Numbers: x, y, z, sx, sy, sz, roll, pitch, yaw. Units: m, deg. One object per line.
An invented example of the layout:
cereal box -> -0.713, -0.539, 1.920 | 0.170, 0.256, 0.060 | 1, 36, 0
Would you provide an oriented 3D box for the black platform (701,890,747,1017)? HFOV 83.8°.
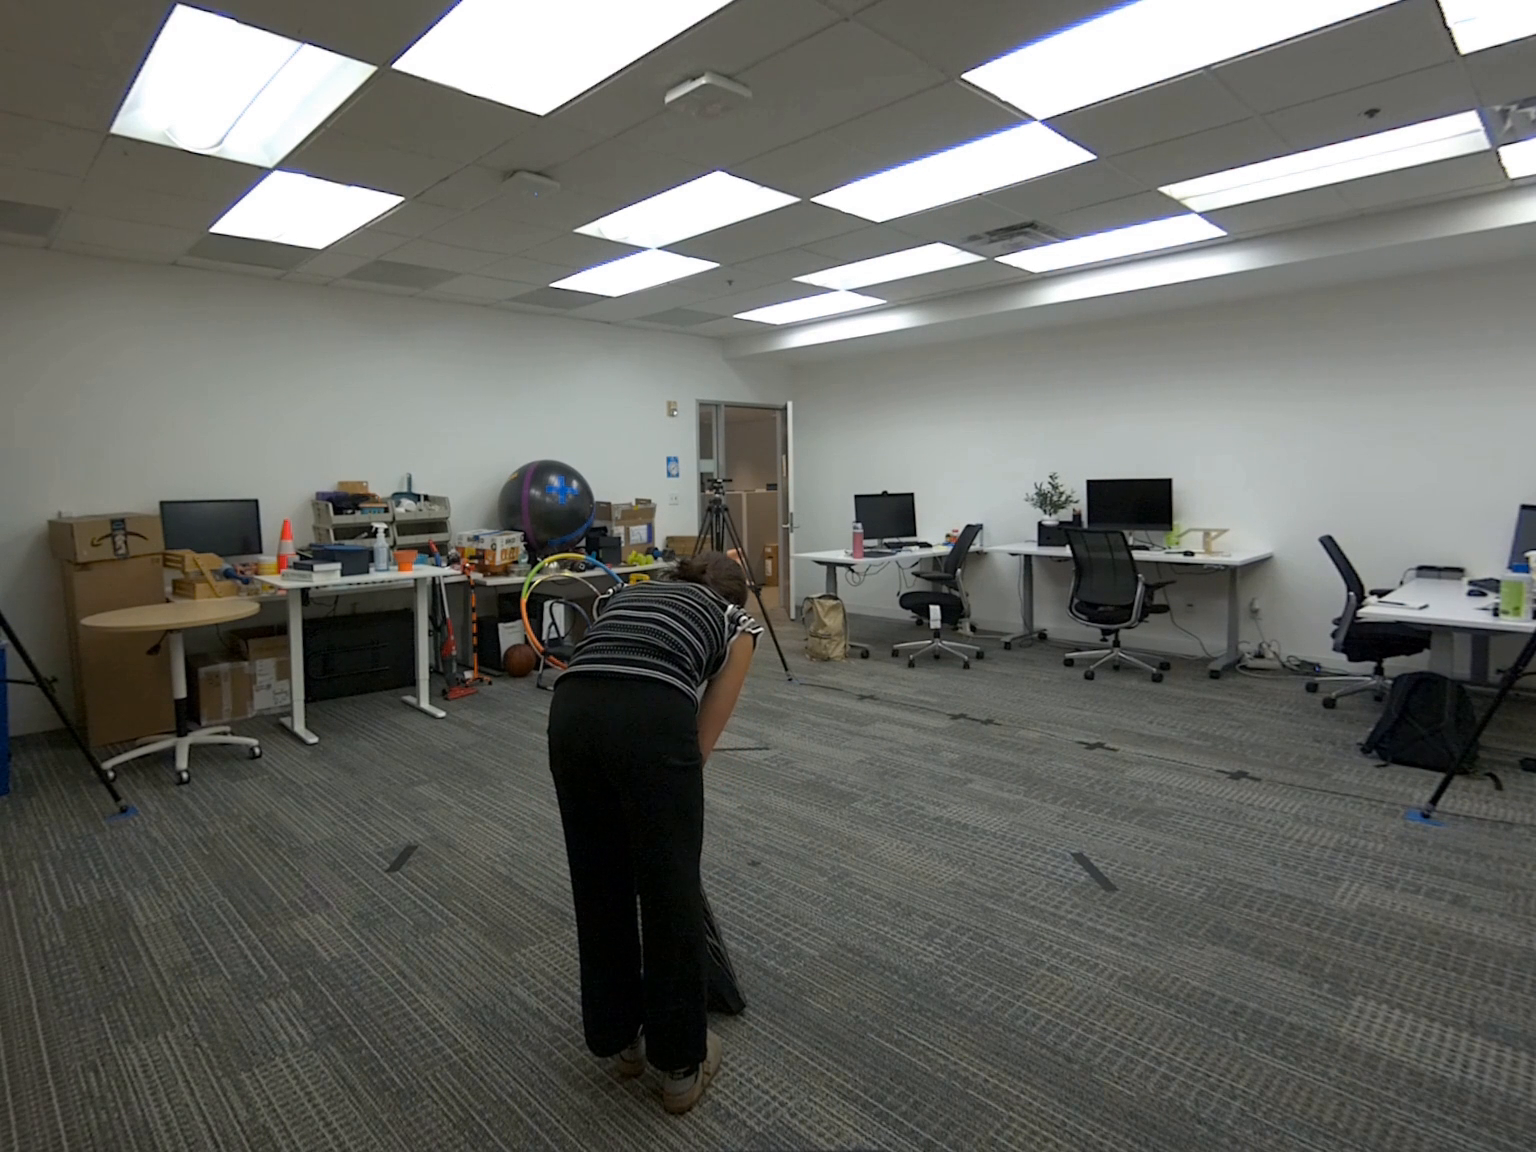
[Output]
black platform -> -0.345, 0.871, 2.566 | 0.143, 0.597, 0.819 | -33, 12, -8
